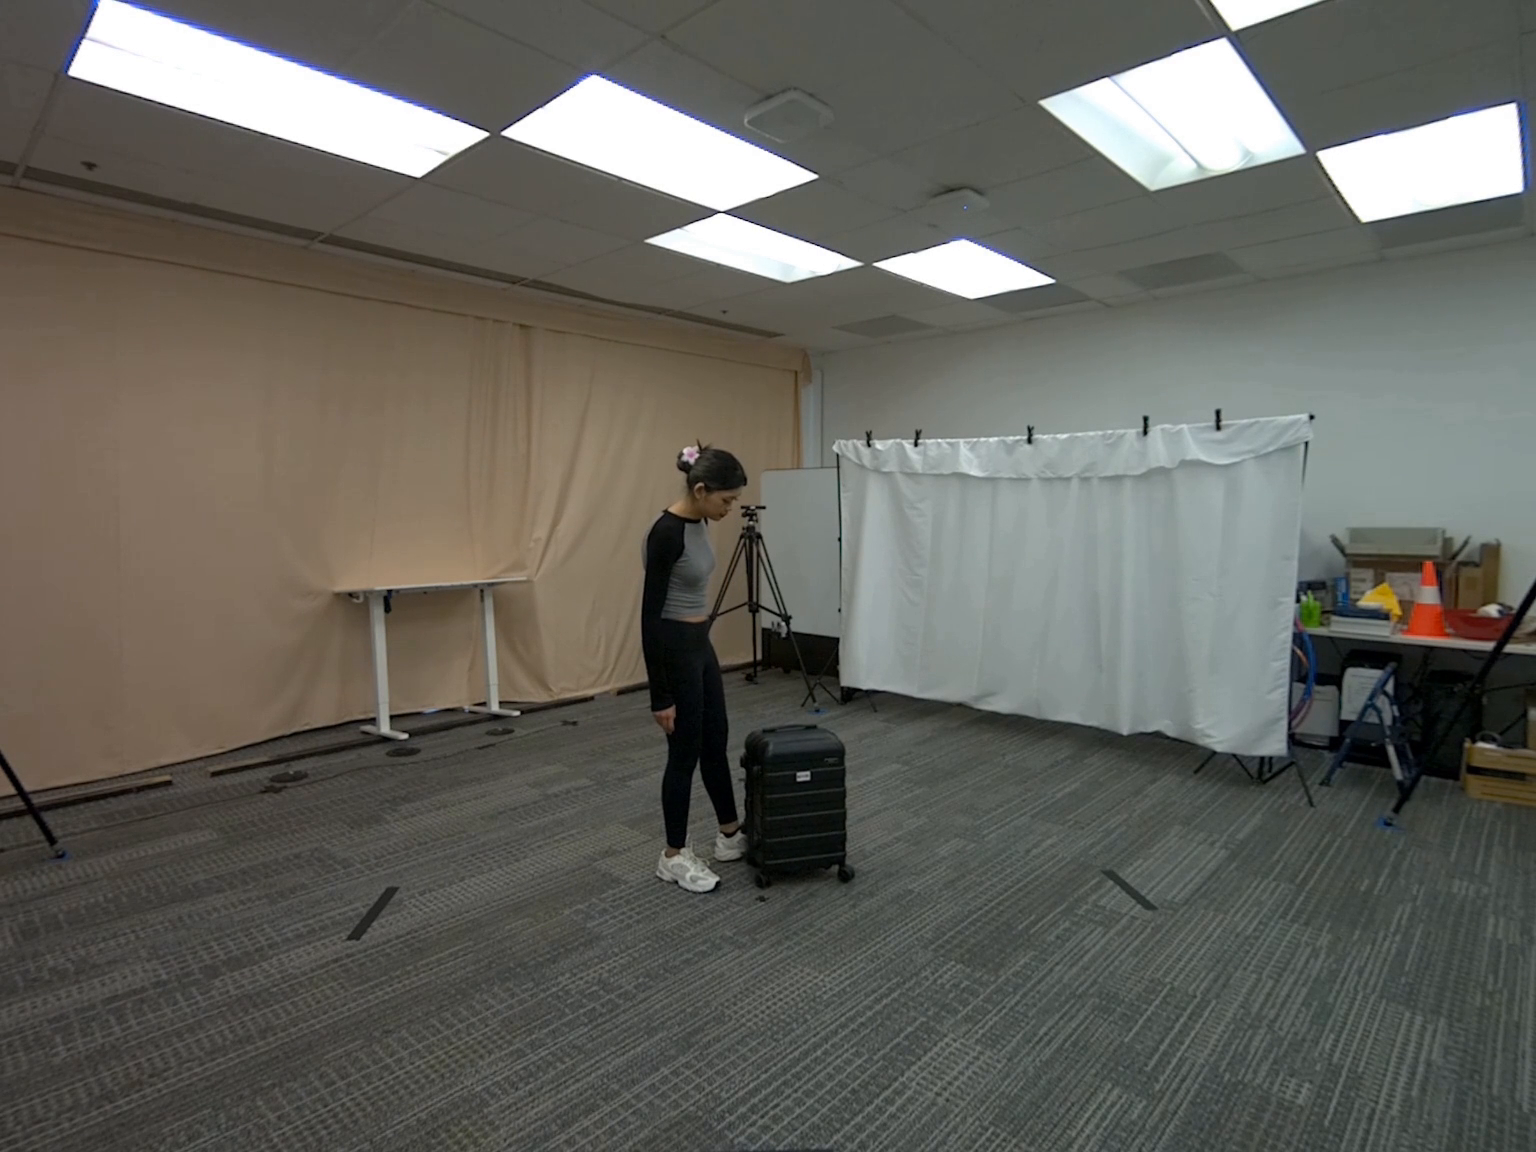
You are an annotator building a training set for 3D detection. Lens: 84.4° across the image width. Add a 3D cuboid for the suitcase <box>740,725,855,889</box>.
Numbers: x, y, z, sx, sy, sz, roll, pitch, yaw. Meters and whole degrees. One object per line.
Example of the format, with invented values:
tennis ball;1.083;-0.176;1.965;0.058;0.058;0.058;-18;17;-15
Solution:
suitcase;0.109;0.851;3.173;0.370;0.548;0.252;-1;3;-14
